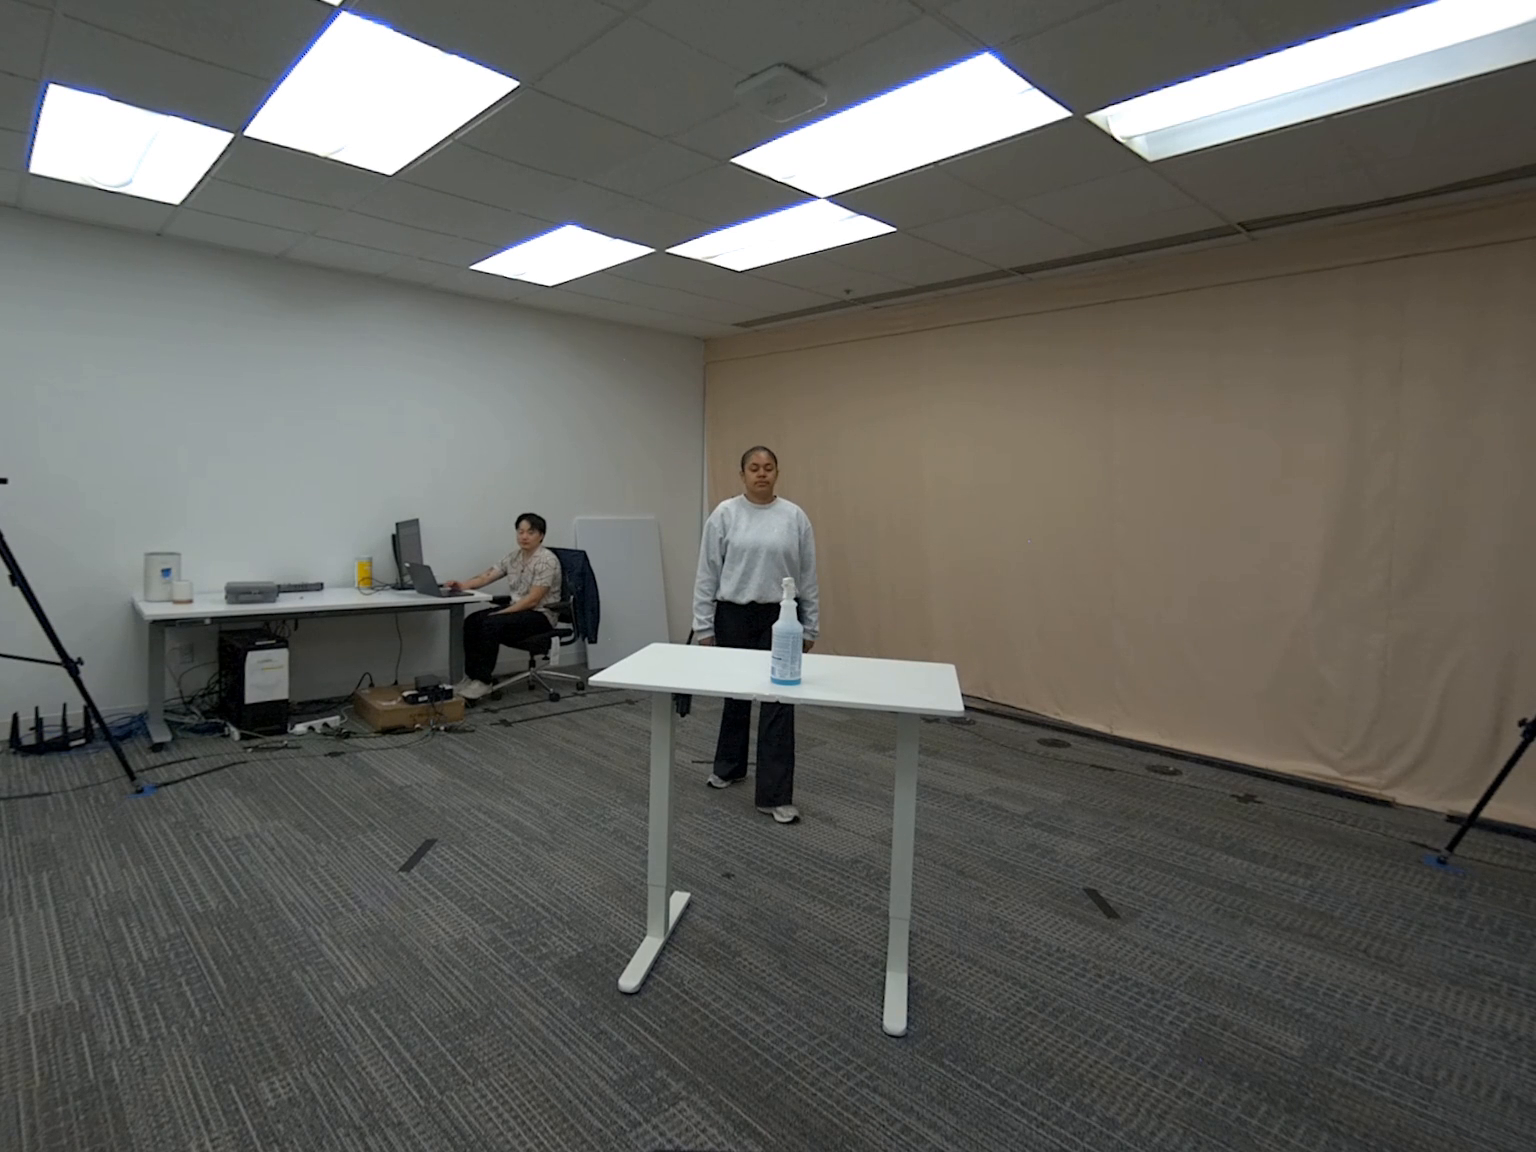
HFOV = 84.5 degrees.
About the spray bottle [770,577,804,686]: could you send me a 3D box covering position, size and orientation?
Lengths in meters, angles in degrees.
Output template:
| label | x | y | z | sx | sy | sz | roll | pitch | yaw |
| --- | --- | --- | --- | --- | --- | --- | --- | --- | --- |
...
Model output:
| label | x | y | z | sx | sy | sz | roll | pitch | yaw |
| --- | --- | --- | --- | --- | --- | --- | --- | --- | --- |
| spray bottle | 0.041 | 0.155 | 2.346 | 0.089 | 0.296 | 0.088 | 6 | 8 | 41 |
